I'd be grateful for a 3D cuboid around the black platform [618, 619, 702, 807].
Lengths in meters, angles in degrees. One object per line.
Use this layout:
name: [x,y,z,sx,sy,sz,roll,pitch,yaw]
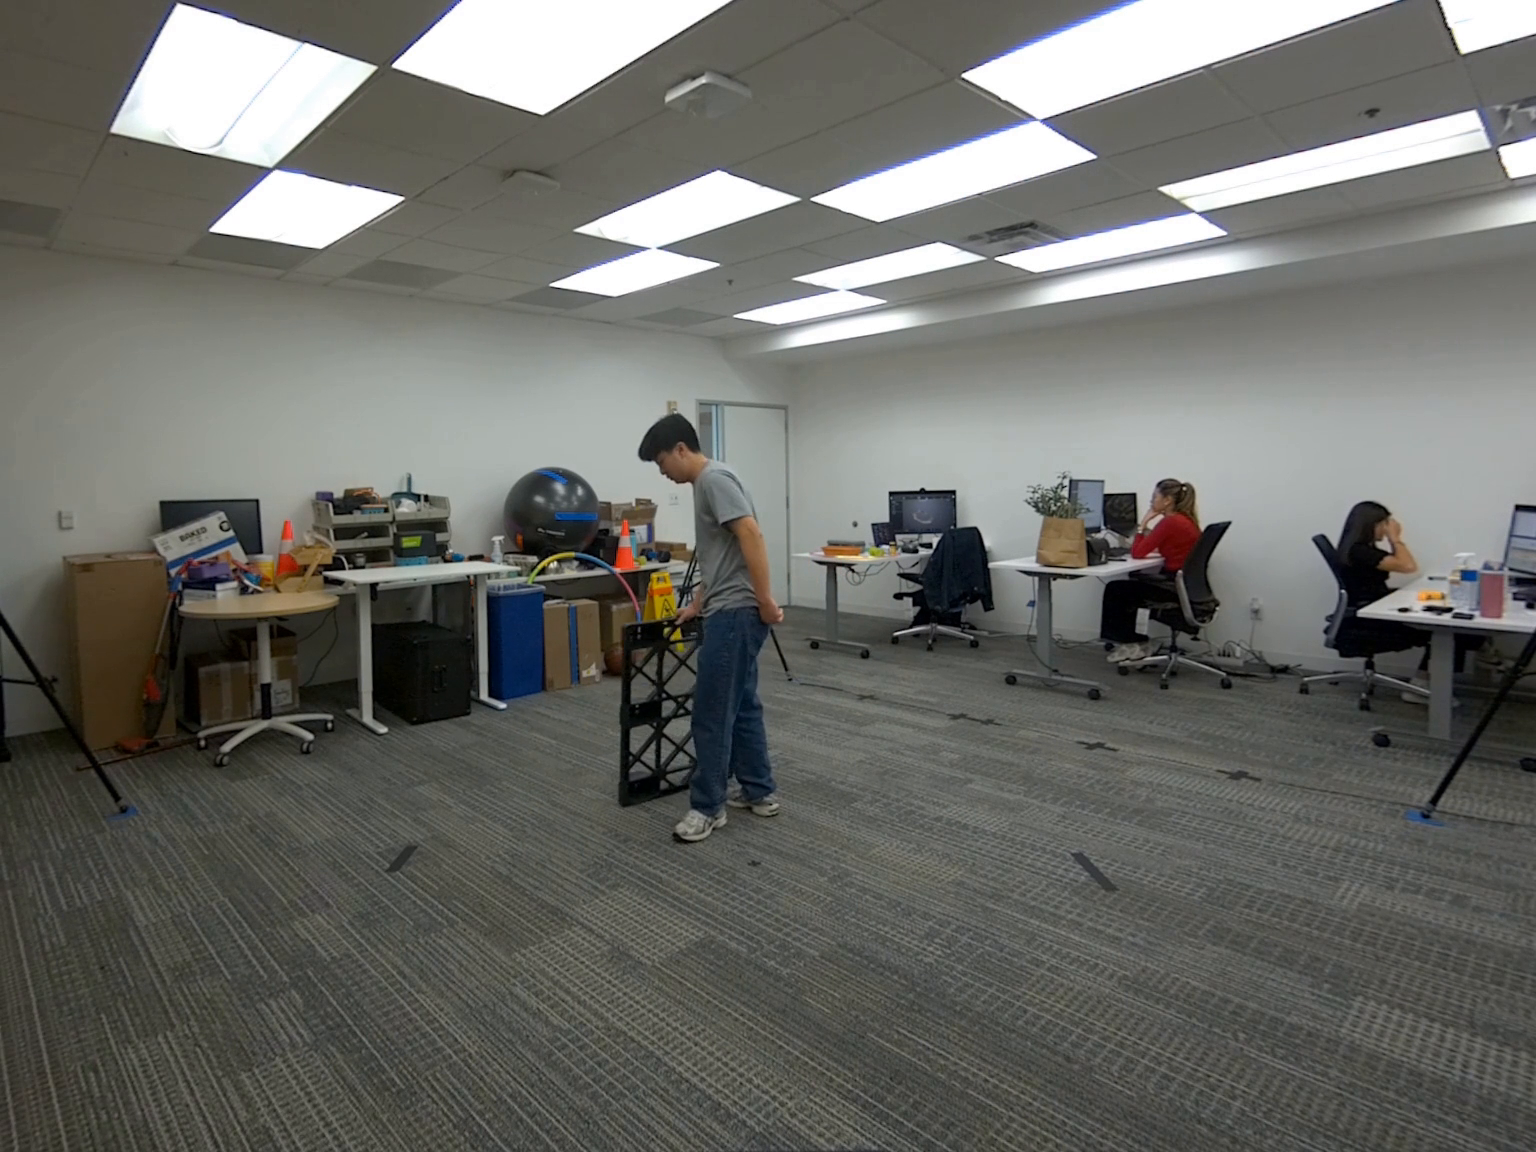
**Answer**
black platform: [-0.404,0.564,3.836,0.590,0.800,0.148,-4,9,-36]
